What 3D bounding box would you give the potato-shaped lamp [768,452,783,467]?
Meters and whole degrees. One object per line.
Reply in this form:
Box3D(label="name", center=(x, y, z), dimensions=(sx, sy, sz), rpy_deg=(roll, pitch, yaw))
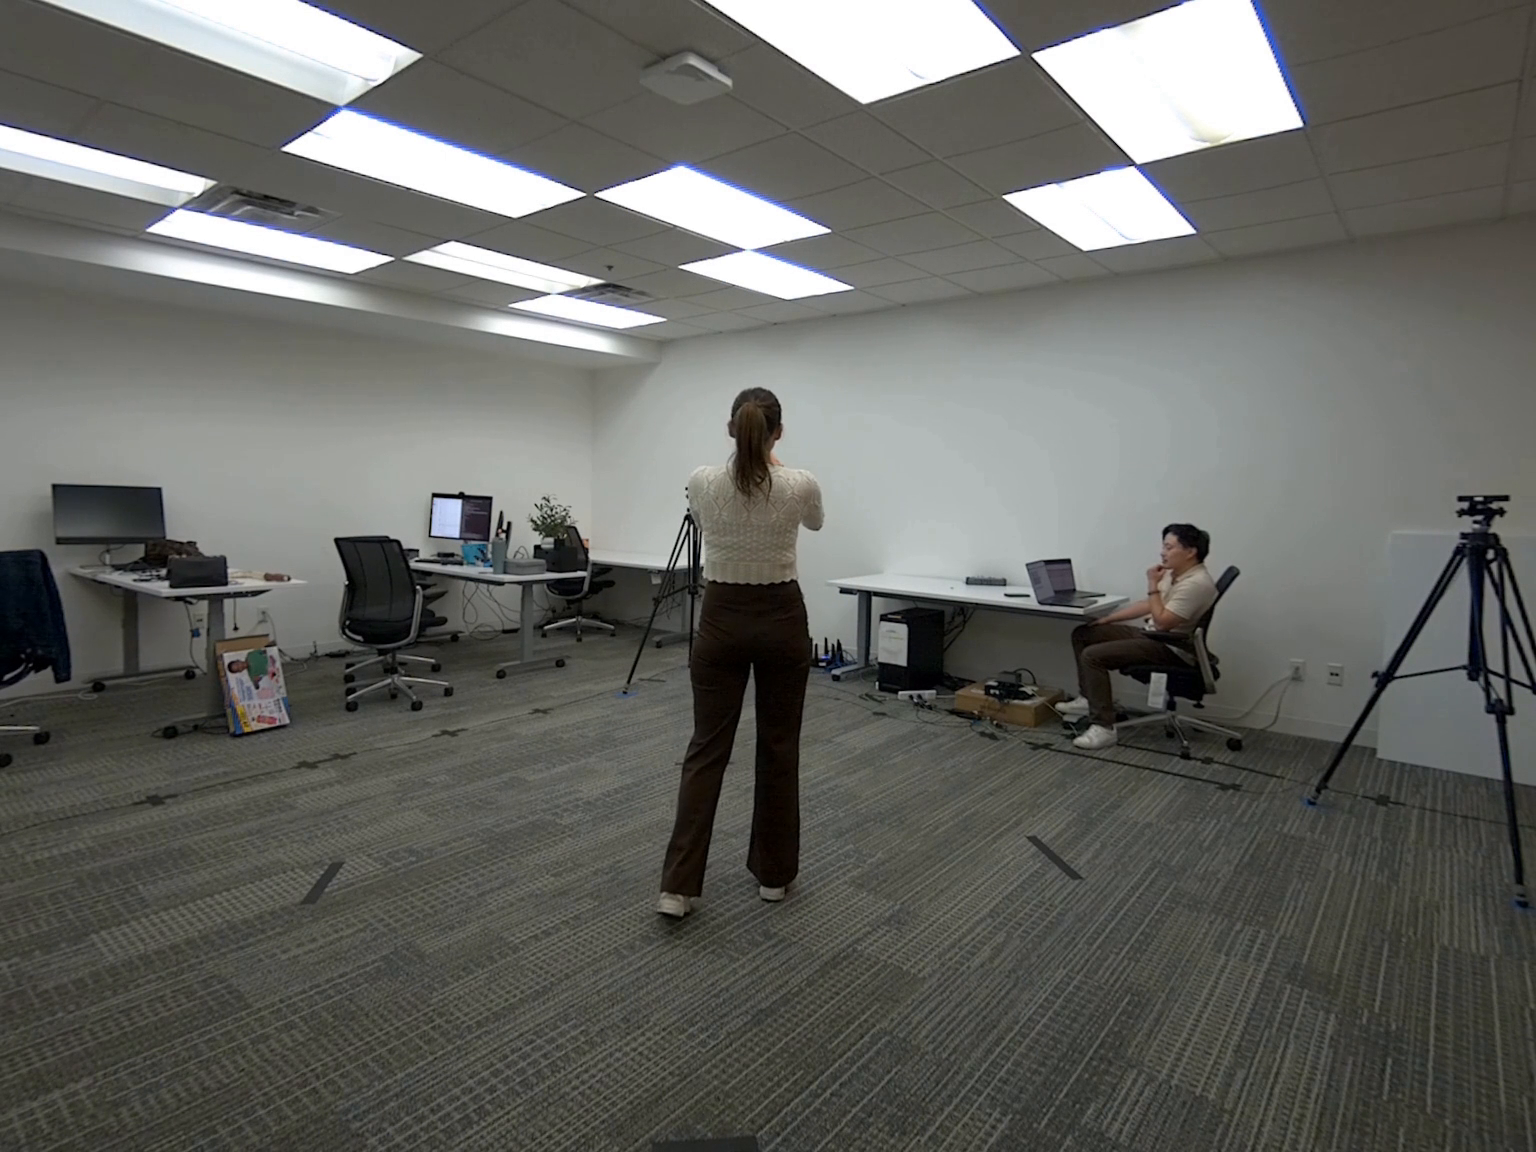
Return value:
Box3D(label="potato-shaped lamp", center=(-0.037, -0.421, 3.369), dimensions=(0.162, 0.167, 0.206), rpy_deg=(-13, 37, -22))
